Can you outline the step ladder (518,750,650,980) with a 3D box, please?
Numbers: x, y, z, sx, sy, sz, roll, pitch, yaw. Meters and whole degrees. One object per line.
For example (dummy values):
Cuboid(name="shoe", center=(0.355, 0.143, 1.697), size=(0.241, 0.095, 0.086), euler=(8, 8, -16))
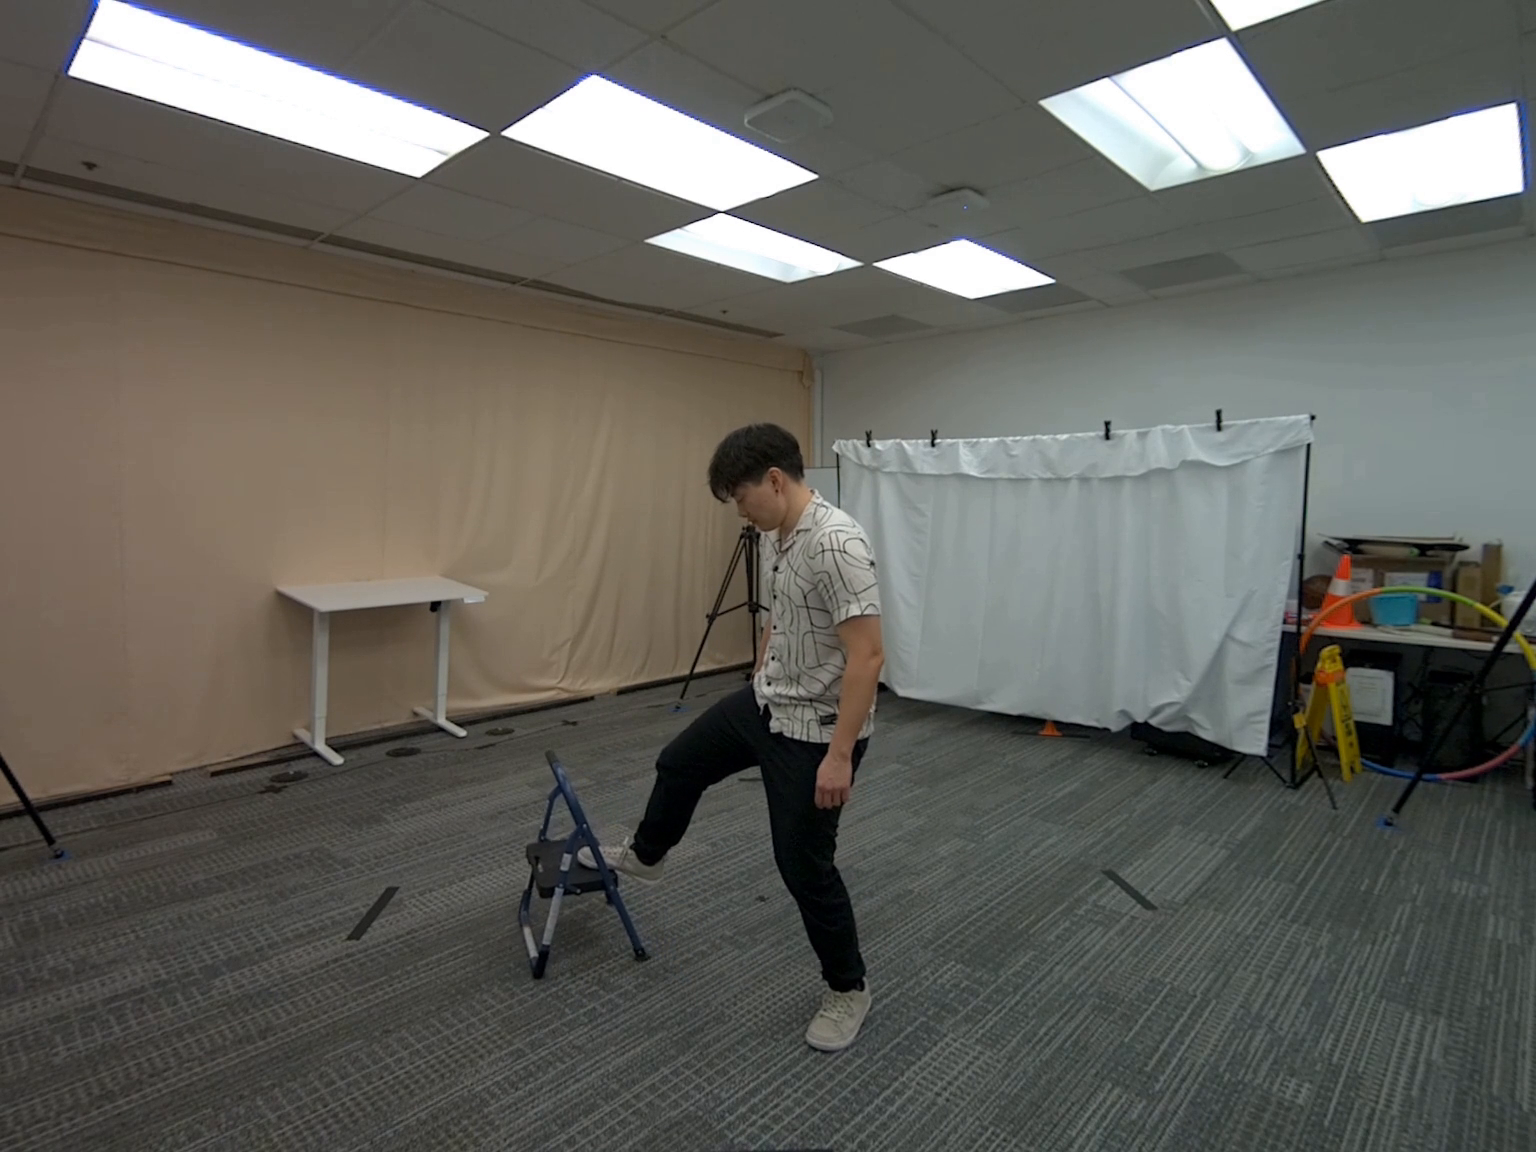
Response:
Cuboid(name="step ladder", center=(-0.614, 0.871, 2.709), size=(0.341, 0.605, 0.441), euler=(-2, 3, -23))
